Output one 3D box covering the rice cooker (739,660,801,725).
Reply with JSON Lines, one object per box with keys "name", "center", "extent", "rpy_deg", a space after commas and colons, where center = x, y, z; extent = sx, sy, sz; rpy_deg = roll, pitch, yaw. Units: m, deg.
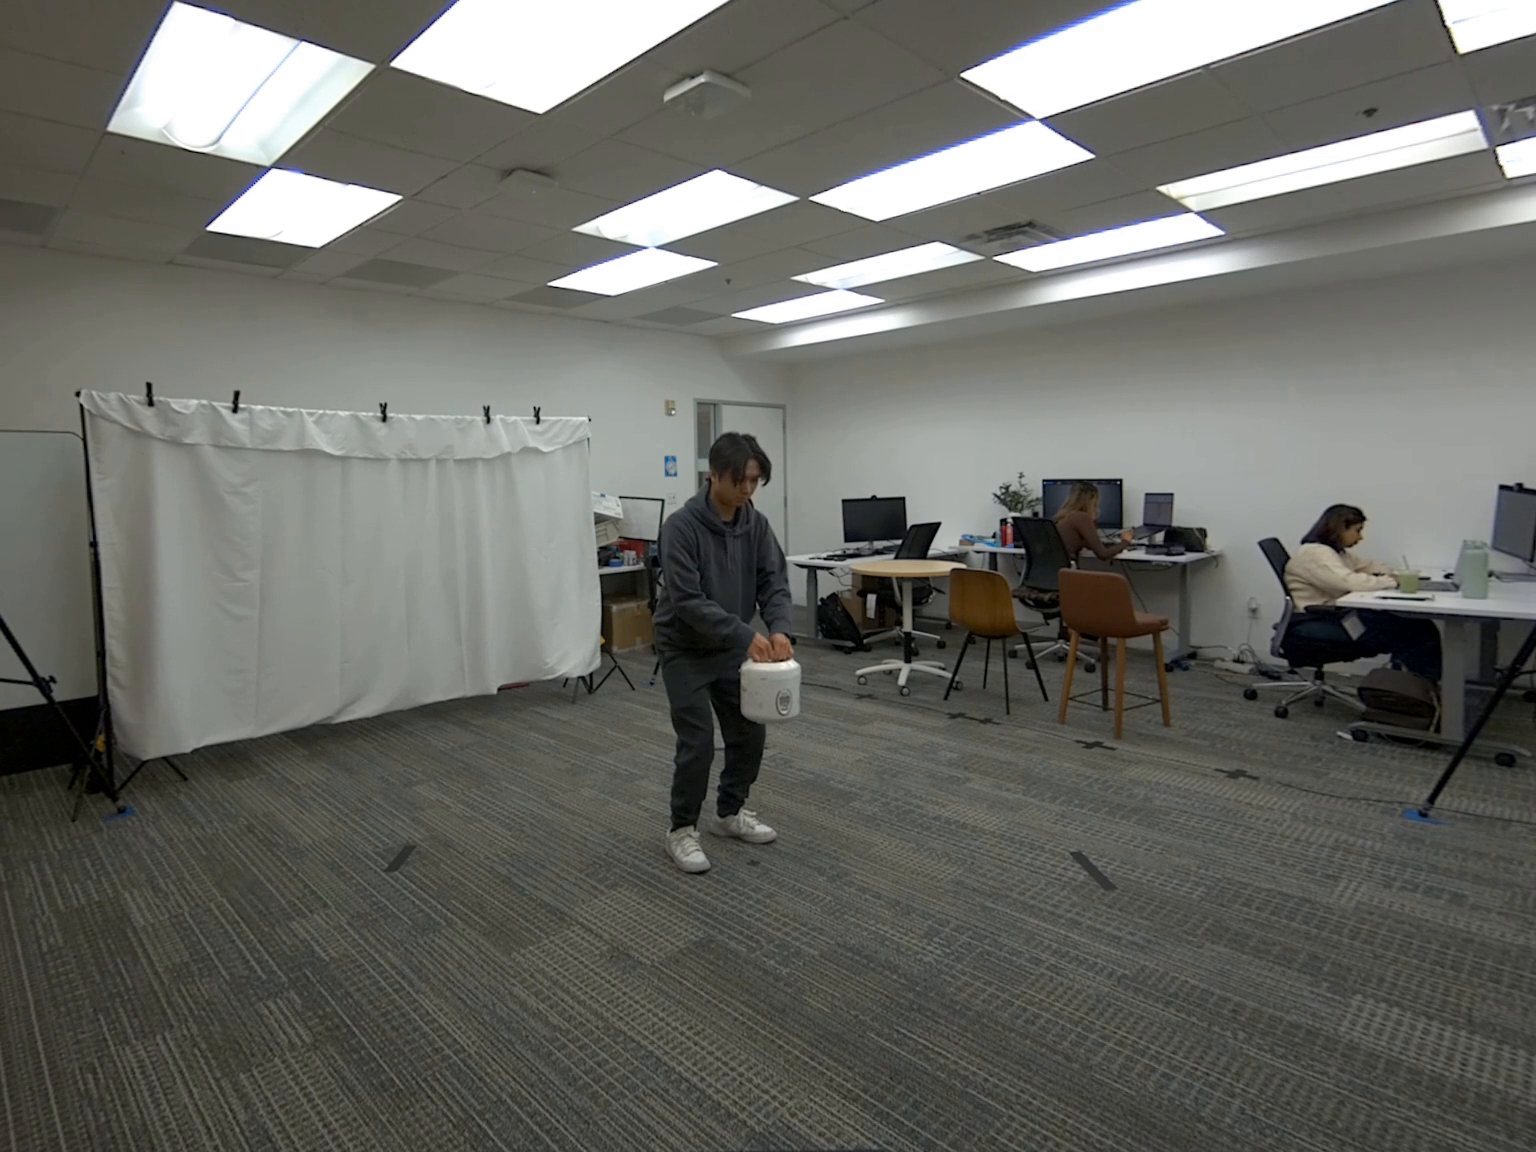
{"name": "rice cooker", "center": [0.013, 0.380, 2.978], "extent": [0.216, 0.232, 0.222], "rpy_deg": [-3, 2, -24]}
